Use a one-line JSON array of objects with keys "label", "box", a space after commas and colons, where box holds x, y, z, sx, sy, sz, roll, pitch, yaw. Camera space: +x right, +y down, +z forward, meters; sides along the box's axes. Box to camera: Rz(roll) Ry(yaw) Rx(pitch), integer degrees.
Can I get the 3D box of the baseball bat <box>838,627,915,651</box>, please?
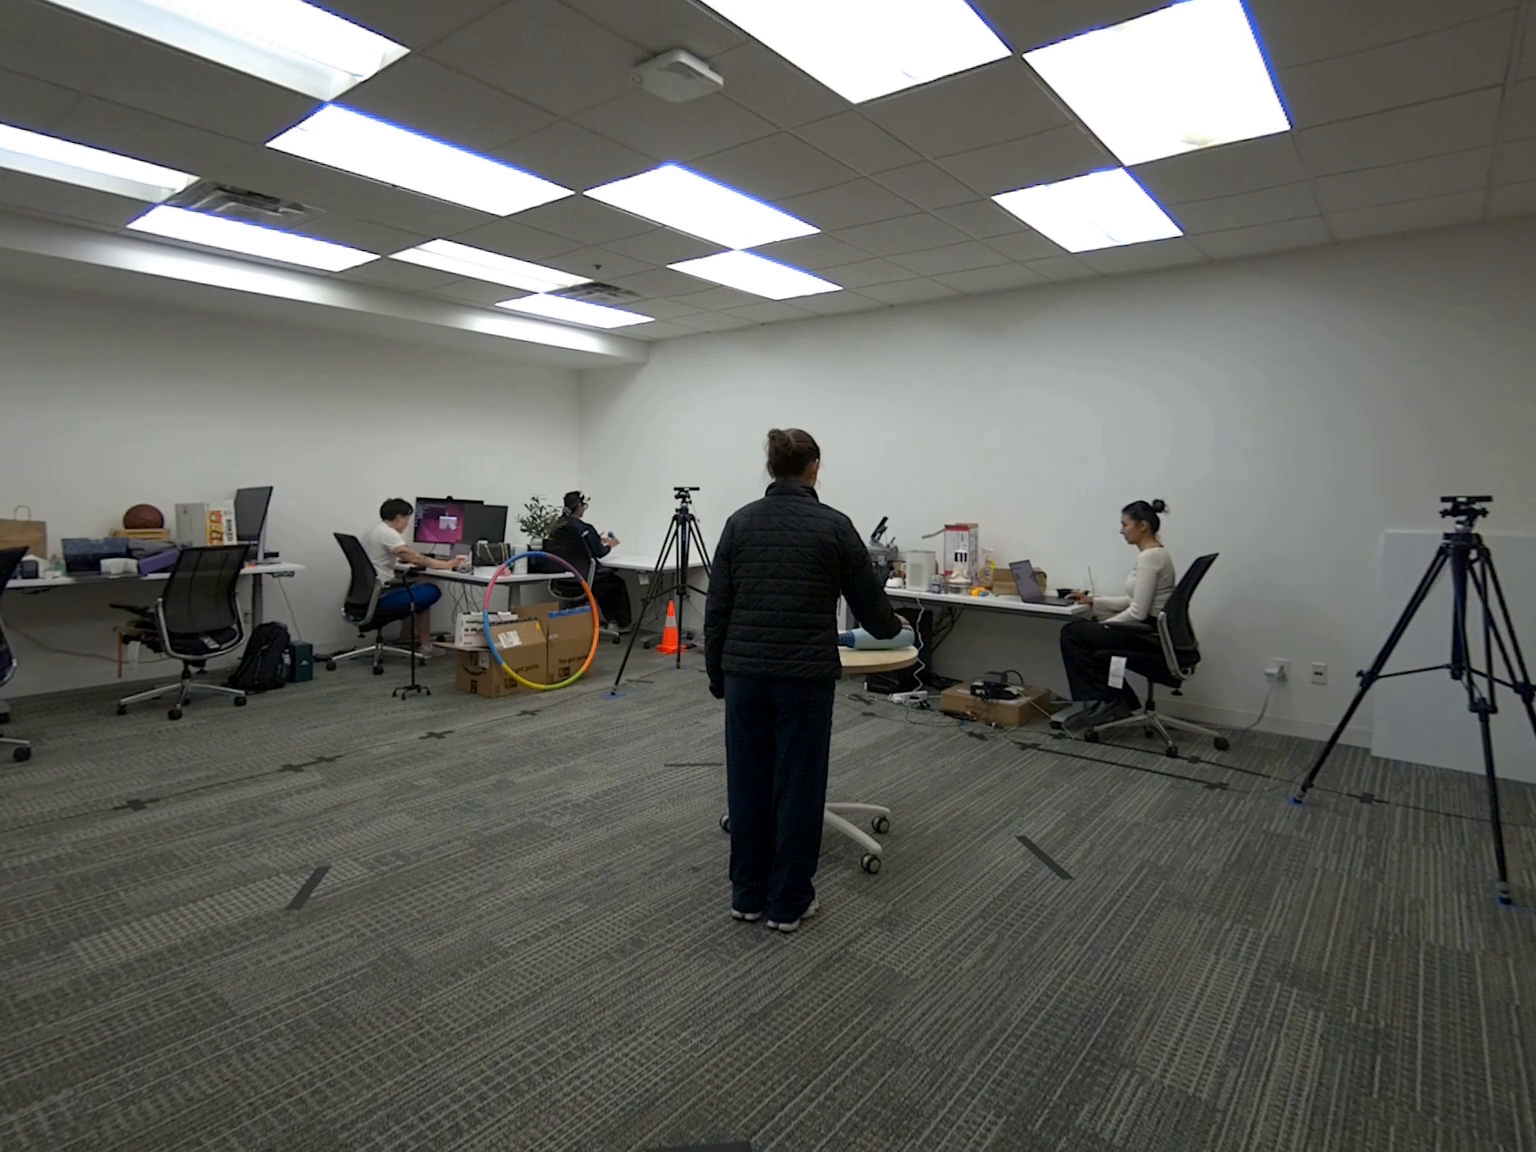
[{"label": "baseball bat", "box": [0.322, 0.242, 3.258, 0.536, 0.089, 0.090, -3, 5, -13]}]
